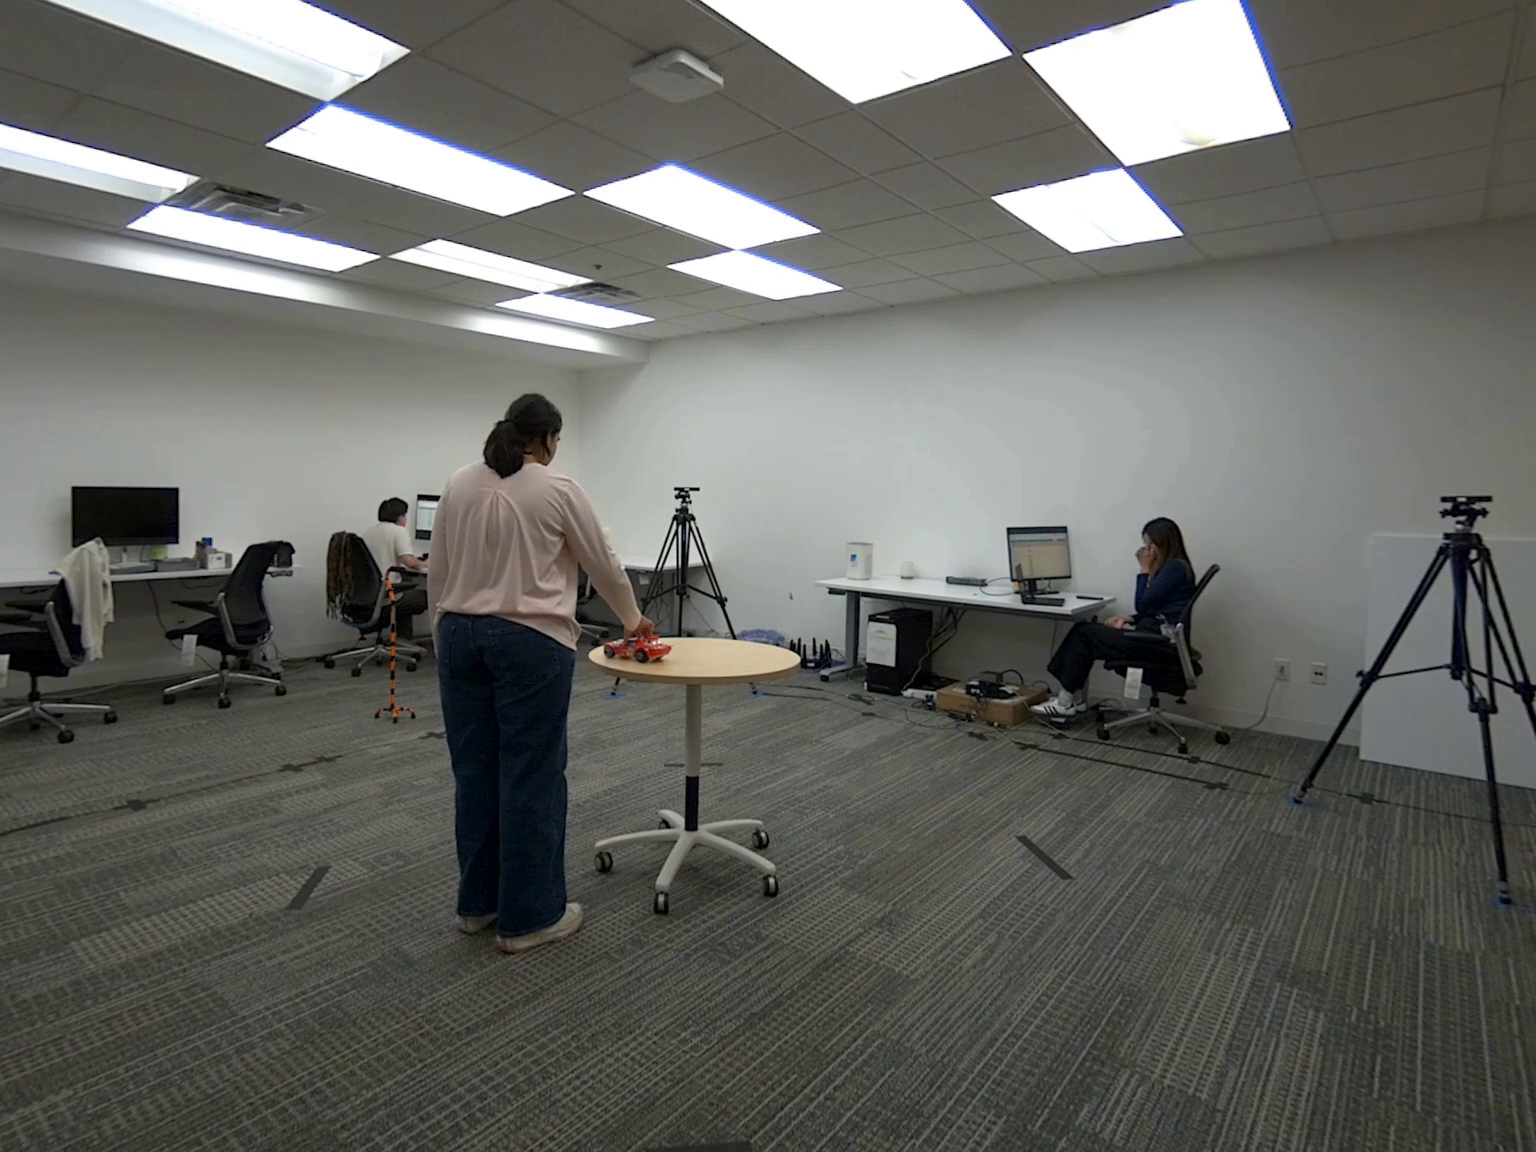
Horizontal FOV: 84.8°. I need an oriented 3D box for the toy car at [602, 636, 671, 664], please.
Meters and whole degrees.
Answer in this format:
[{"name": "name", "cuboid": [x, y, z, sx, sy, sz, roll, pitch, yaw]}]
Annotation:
[{"name": "toy car", "cuboid": [-0.460, 0.258, 2.984, 0.261, 0.083, 0.127, -9, -1, 31]}]
